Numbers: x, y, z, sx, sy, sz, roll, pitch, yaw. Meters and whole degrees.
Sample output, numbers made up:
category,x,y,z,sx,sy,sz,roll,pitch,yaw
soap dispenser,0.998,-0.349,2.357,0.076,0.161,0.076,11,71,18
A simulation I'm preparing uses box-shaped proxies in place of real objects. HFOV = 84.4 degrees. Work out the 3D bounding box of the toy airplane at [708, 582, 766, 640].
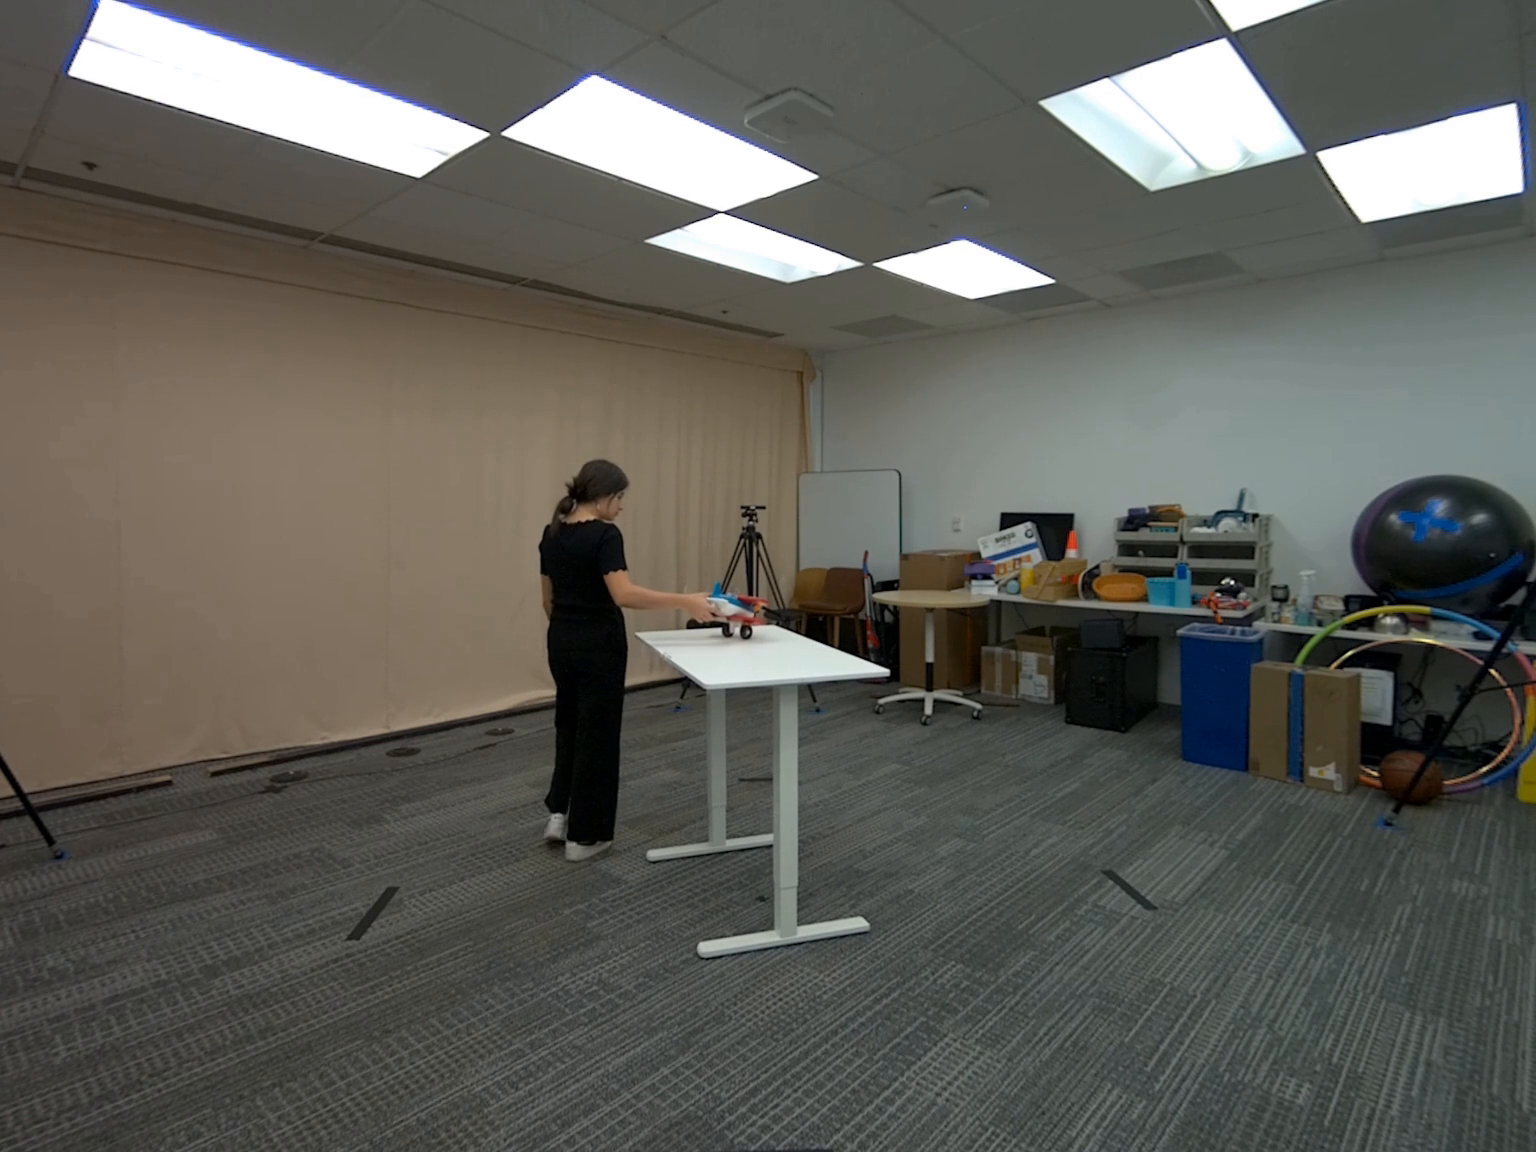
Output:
category,x,y,z,sx,sy,sz,roll,pitch,yaw
toy airplane,-0.127,0.131,3.187,0.254,0.157,0.254,15,-23,10
